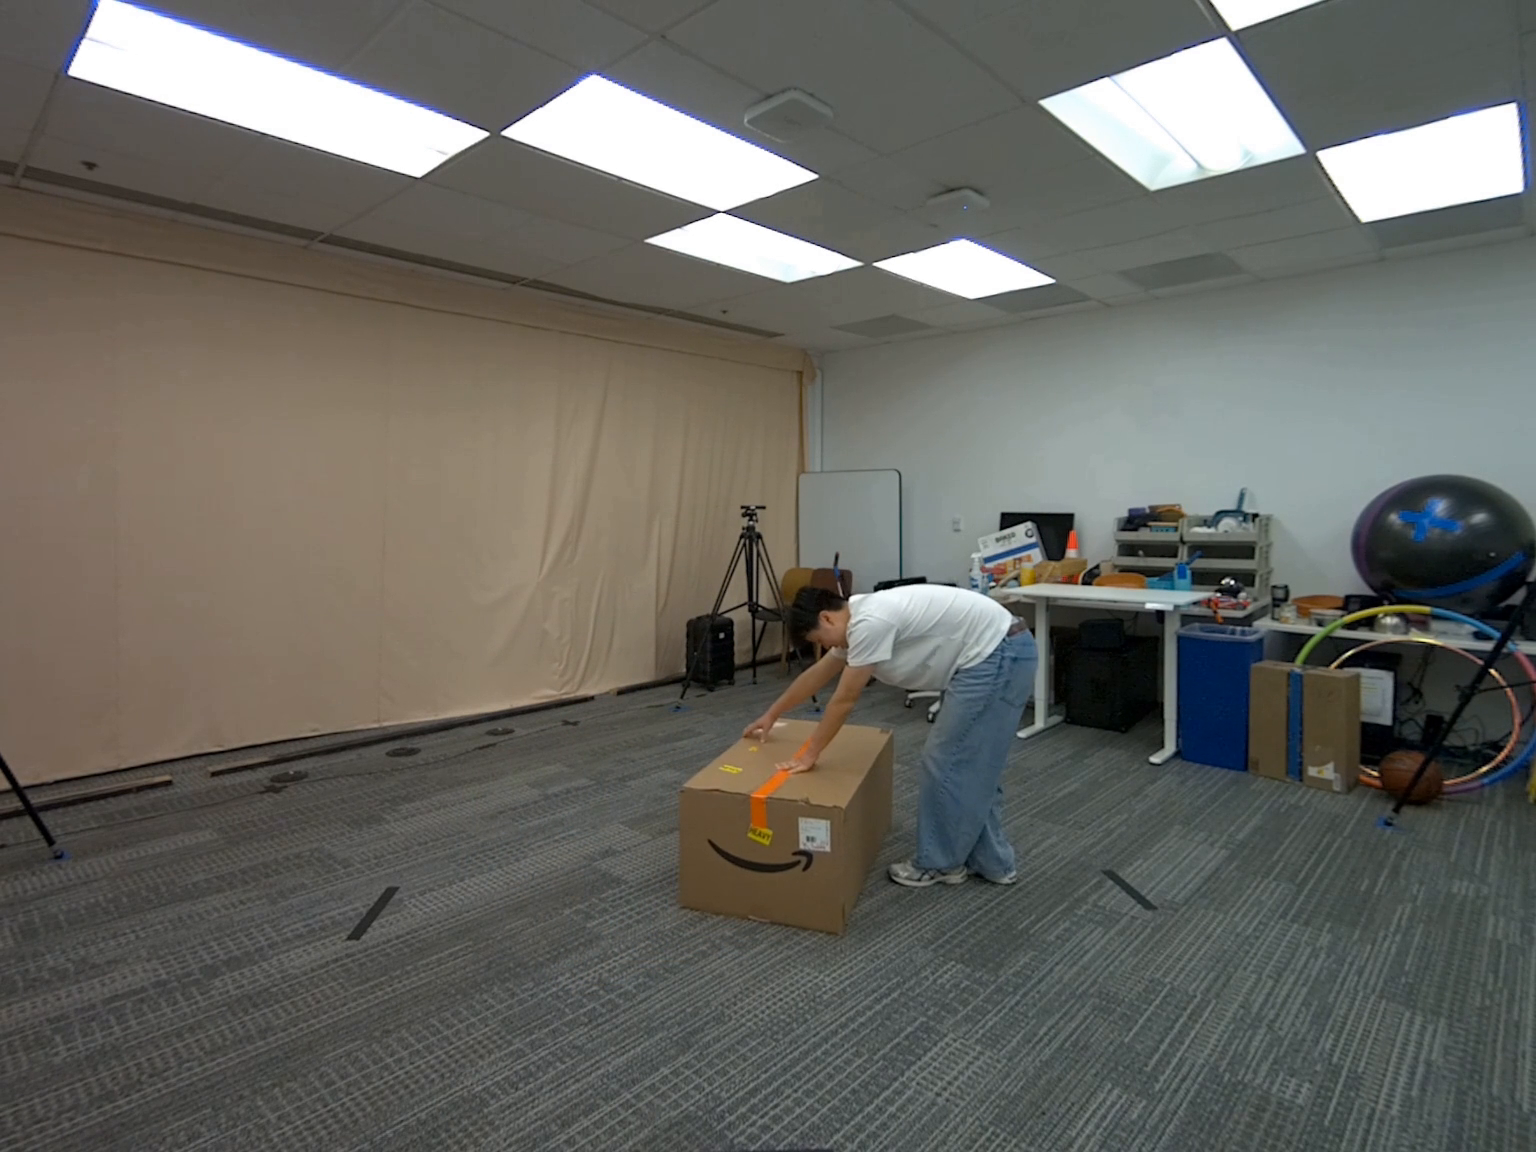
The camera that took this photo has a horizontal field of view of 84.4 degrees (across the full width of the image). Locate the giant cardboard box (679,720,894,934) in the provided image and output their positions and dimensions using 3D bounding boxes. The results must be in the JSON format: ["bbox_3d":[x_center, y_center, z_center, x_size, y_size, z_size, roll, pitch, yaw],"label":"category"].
[{"bbox_3d":[0.125,0.904,3.281,0.589,0.425,1.007,1,5,18],"label":"giant cardboard box"}]
